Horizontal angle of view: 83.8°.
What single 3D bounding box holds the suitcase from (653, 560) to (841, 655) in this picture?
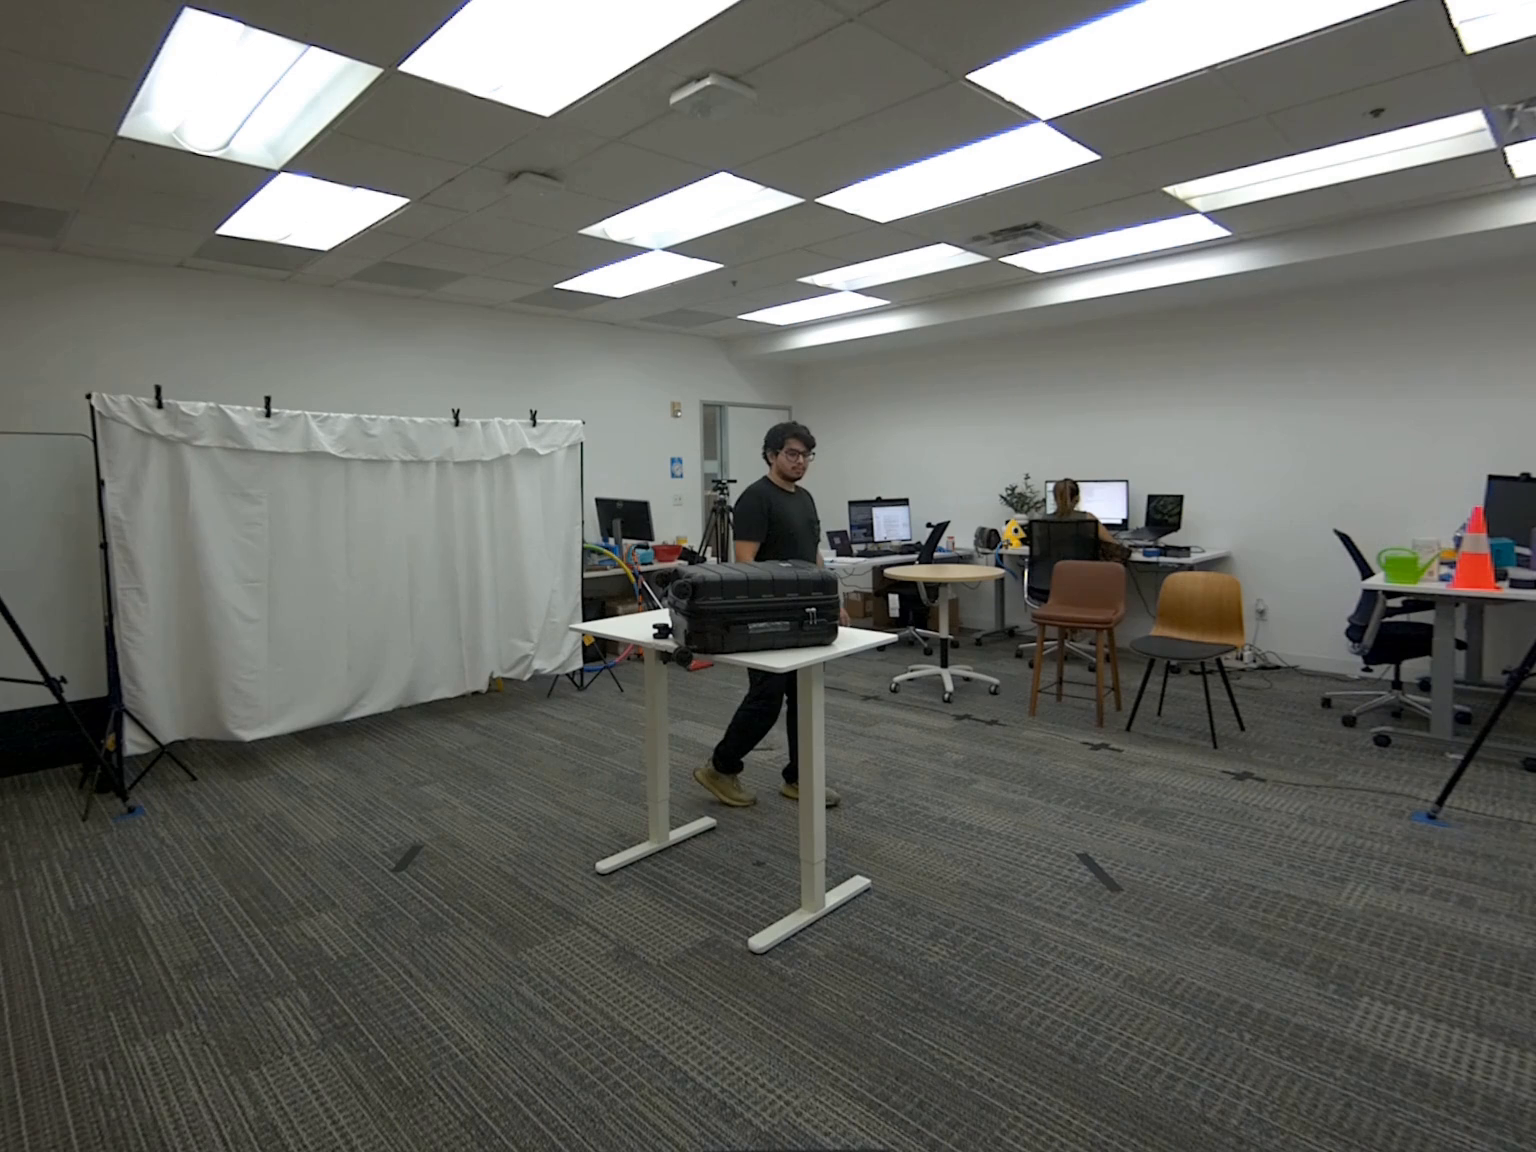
[{"bbox_3d":[-0.064,0.095,2.717,0.541,0.247,0.383,-3,6,-16],"label":"suitcase"}]
